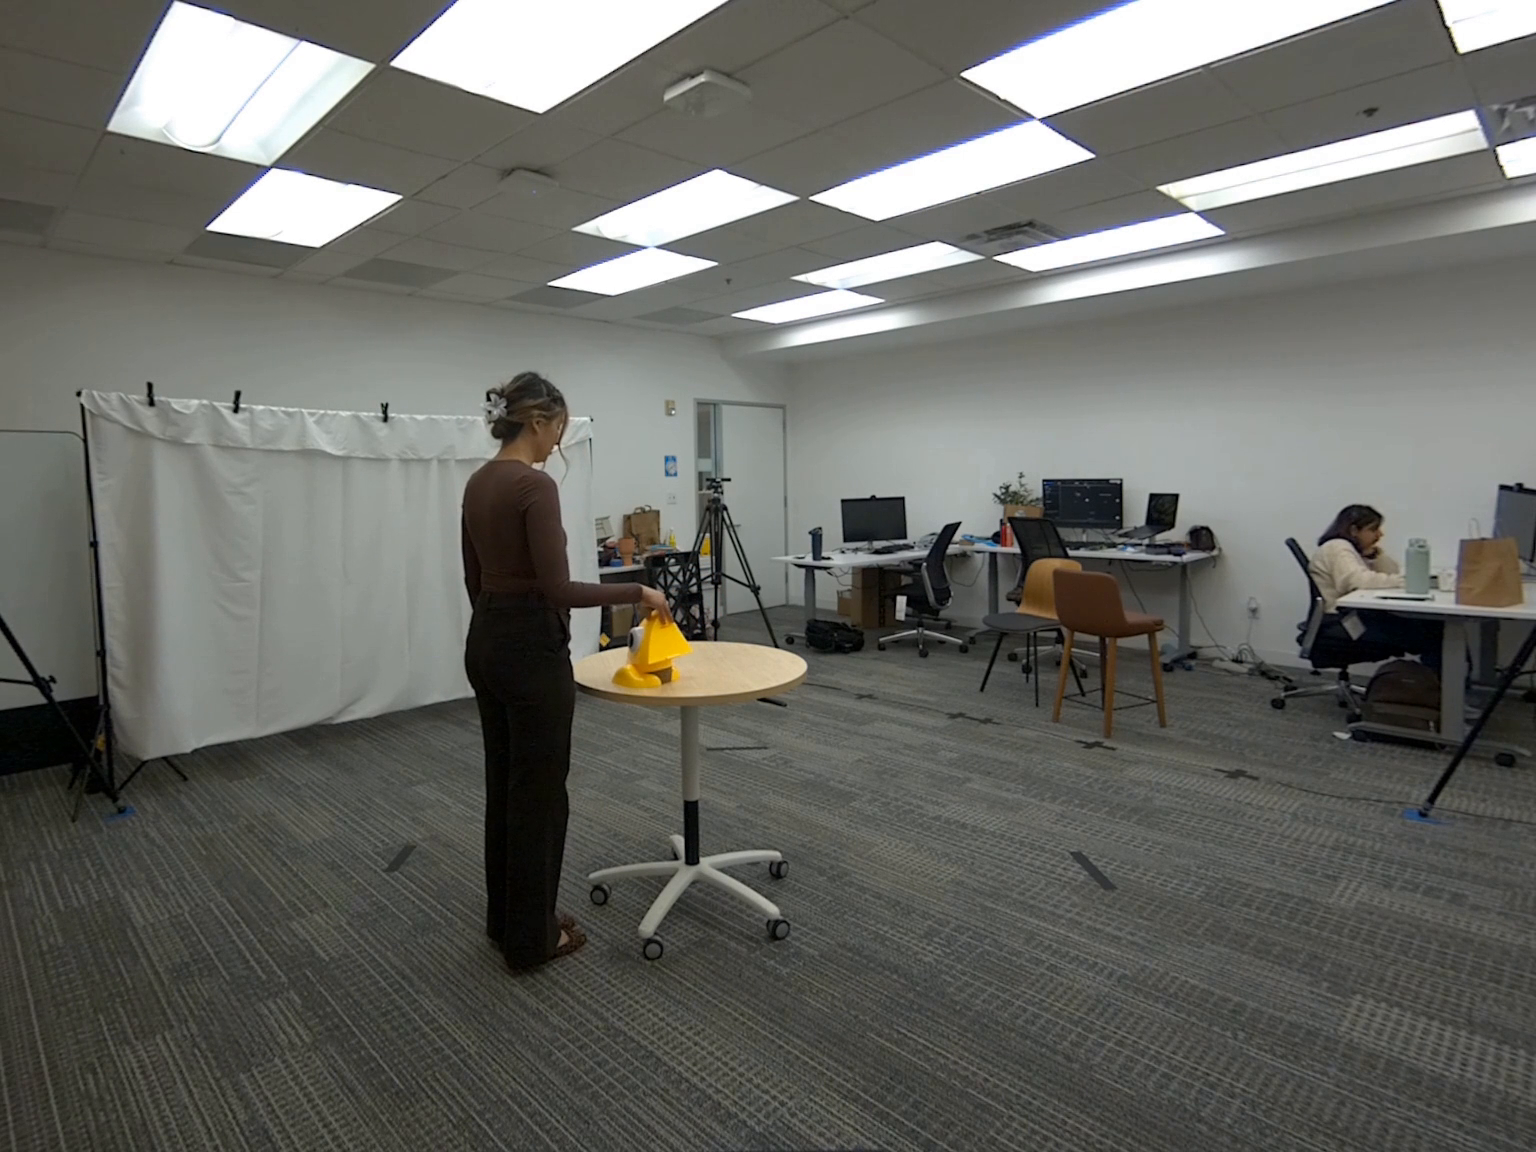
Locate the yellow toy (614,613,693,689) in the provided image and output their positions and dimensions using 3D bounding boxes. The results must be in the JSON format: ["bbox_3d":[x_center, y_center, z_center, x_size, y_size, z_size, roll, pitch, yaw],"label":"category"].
[{"bbox_3d":[-0.359,0.201,2.569,0.198,0.230,0.200,1,6,34],"label":"yellow toy"}]
